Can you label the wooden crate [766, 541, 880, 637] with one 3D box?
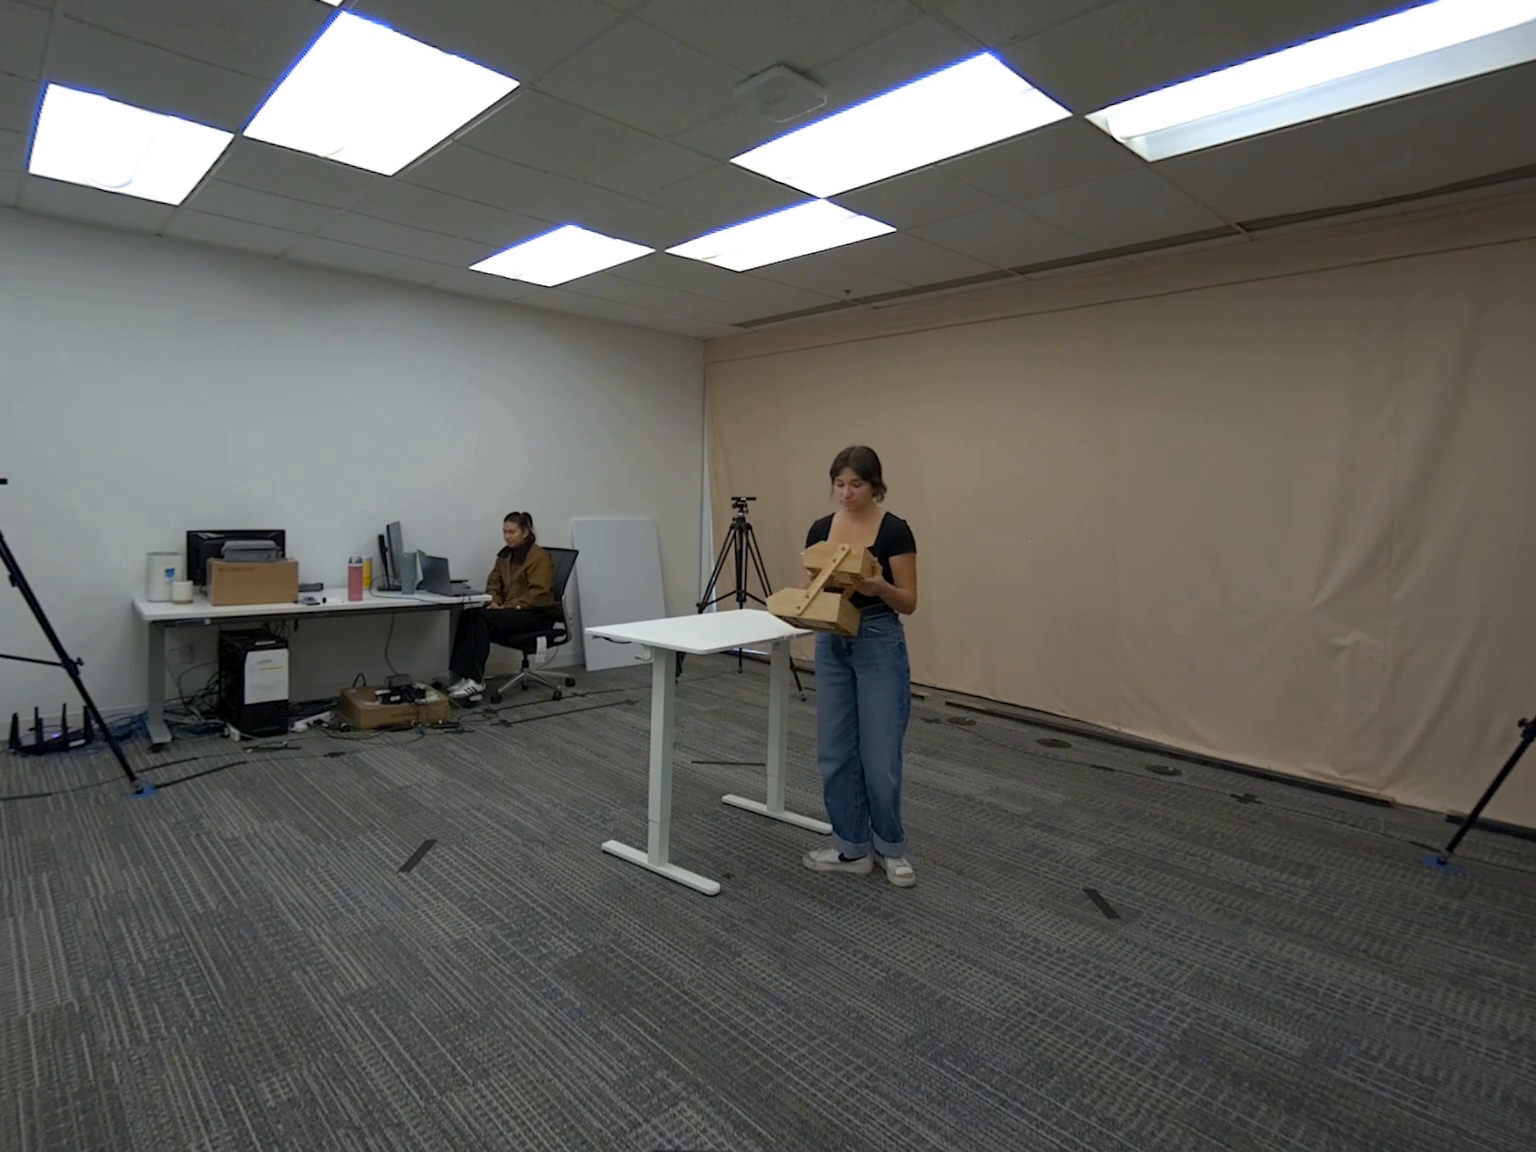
[{"bbox_3d":[0.185,0.041,2.872,0.308,0.275,0.316,8,-11,22],"label":"wooden crate"}]
